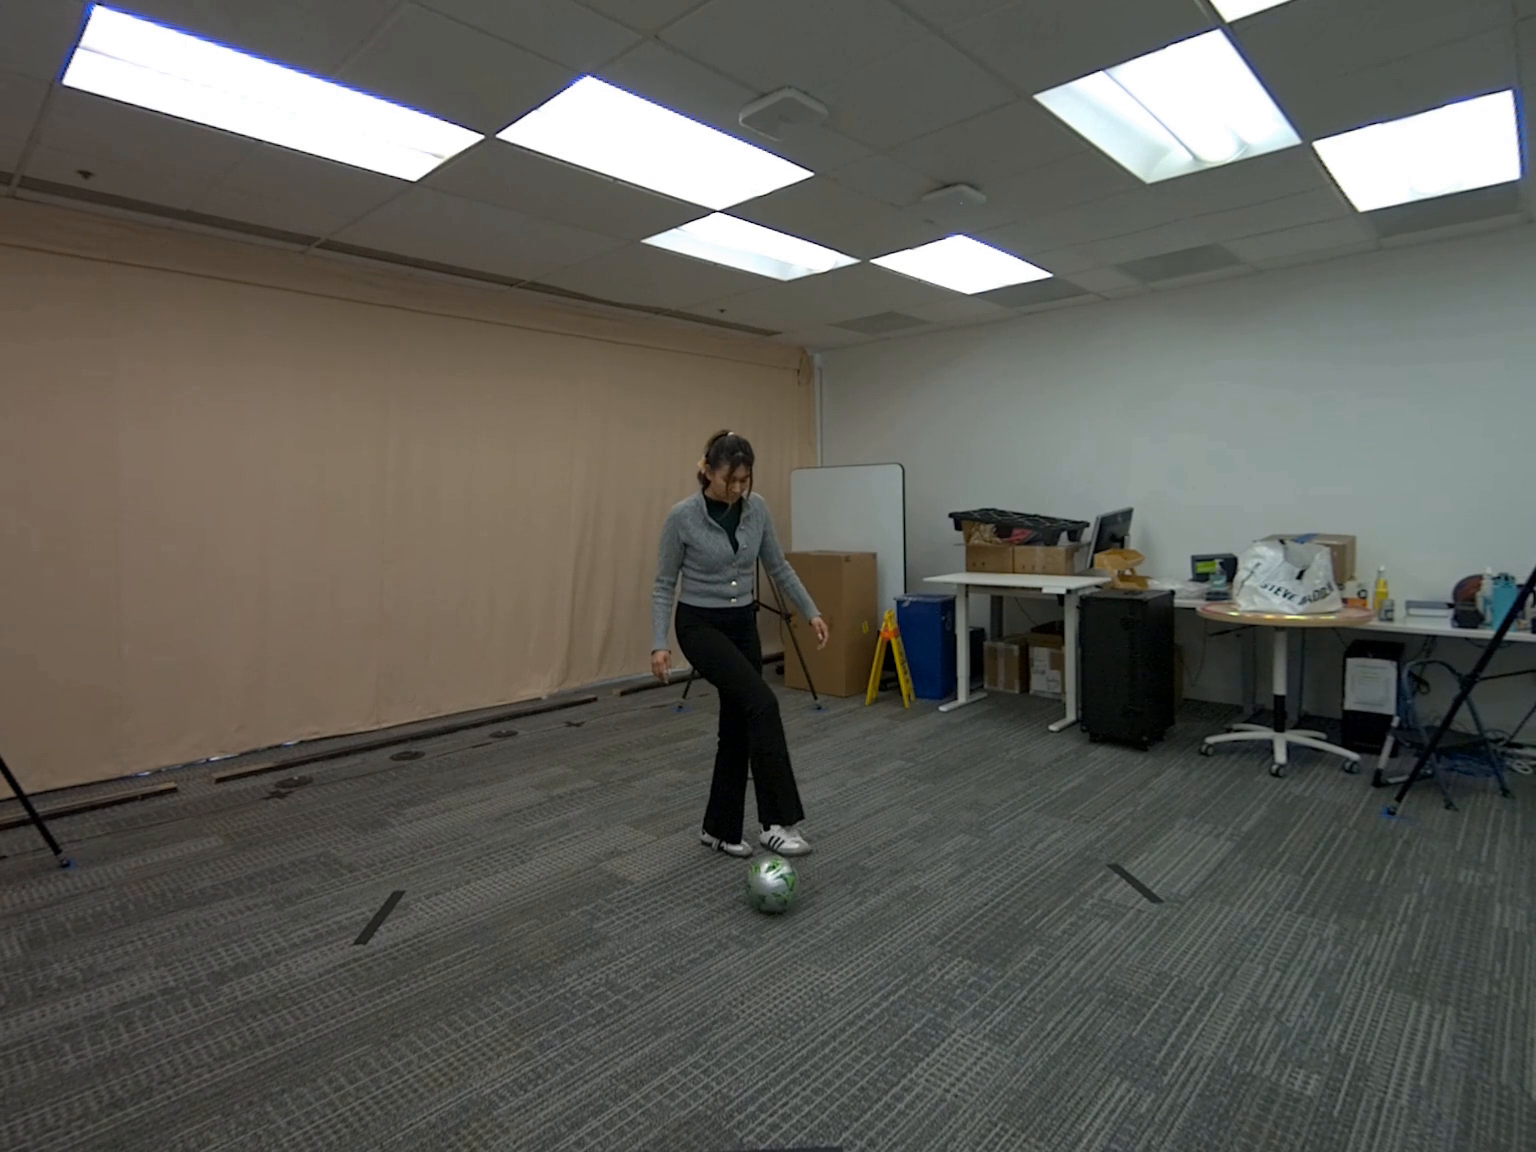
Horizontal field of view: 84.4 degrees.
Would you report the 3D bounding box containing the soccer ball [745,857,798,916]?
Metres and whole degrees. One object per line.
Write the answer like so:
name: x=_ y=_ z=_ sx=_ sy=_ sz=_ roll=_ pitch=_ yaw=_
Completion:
soccer ball: x=0.002 y=1.049 z=2.886 sx=0.187 sy=0.187 sz=0.188 roll=-1 pitch=4 yaw=-2
